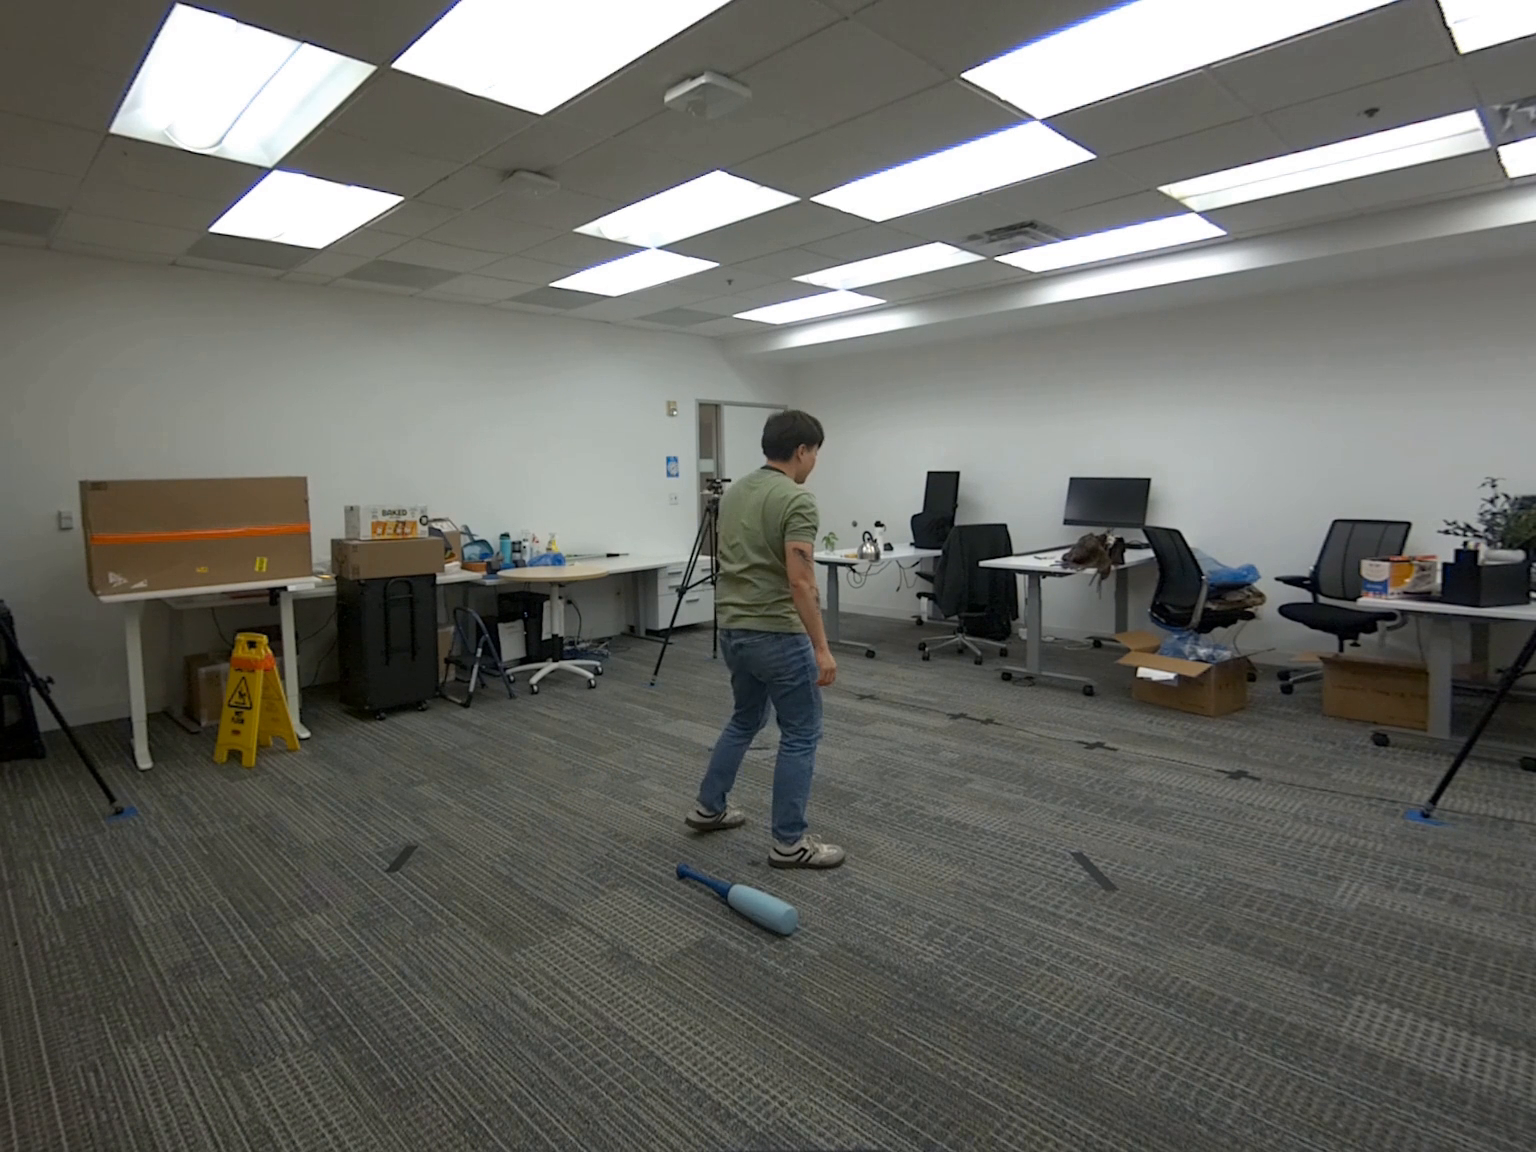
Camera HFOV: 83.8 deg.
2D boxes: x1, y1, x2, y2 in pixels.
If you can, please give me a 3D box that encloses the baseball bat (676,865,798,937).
[{"bbox_3d":[-0.116,1.048,2.800,0.087,0.089,0.559,-5,5,-42],"label":"baseball bat"}]
